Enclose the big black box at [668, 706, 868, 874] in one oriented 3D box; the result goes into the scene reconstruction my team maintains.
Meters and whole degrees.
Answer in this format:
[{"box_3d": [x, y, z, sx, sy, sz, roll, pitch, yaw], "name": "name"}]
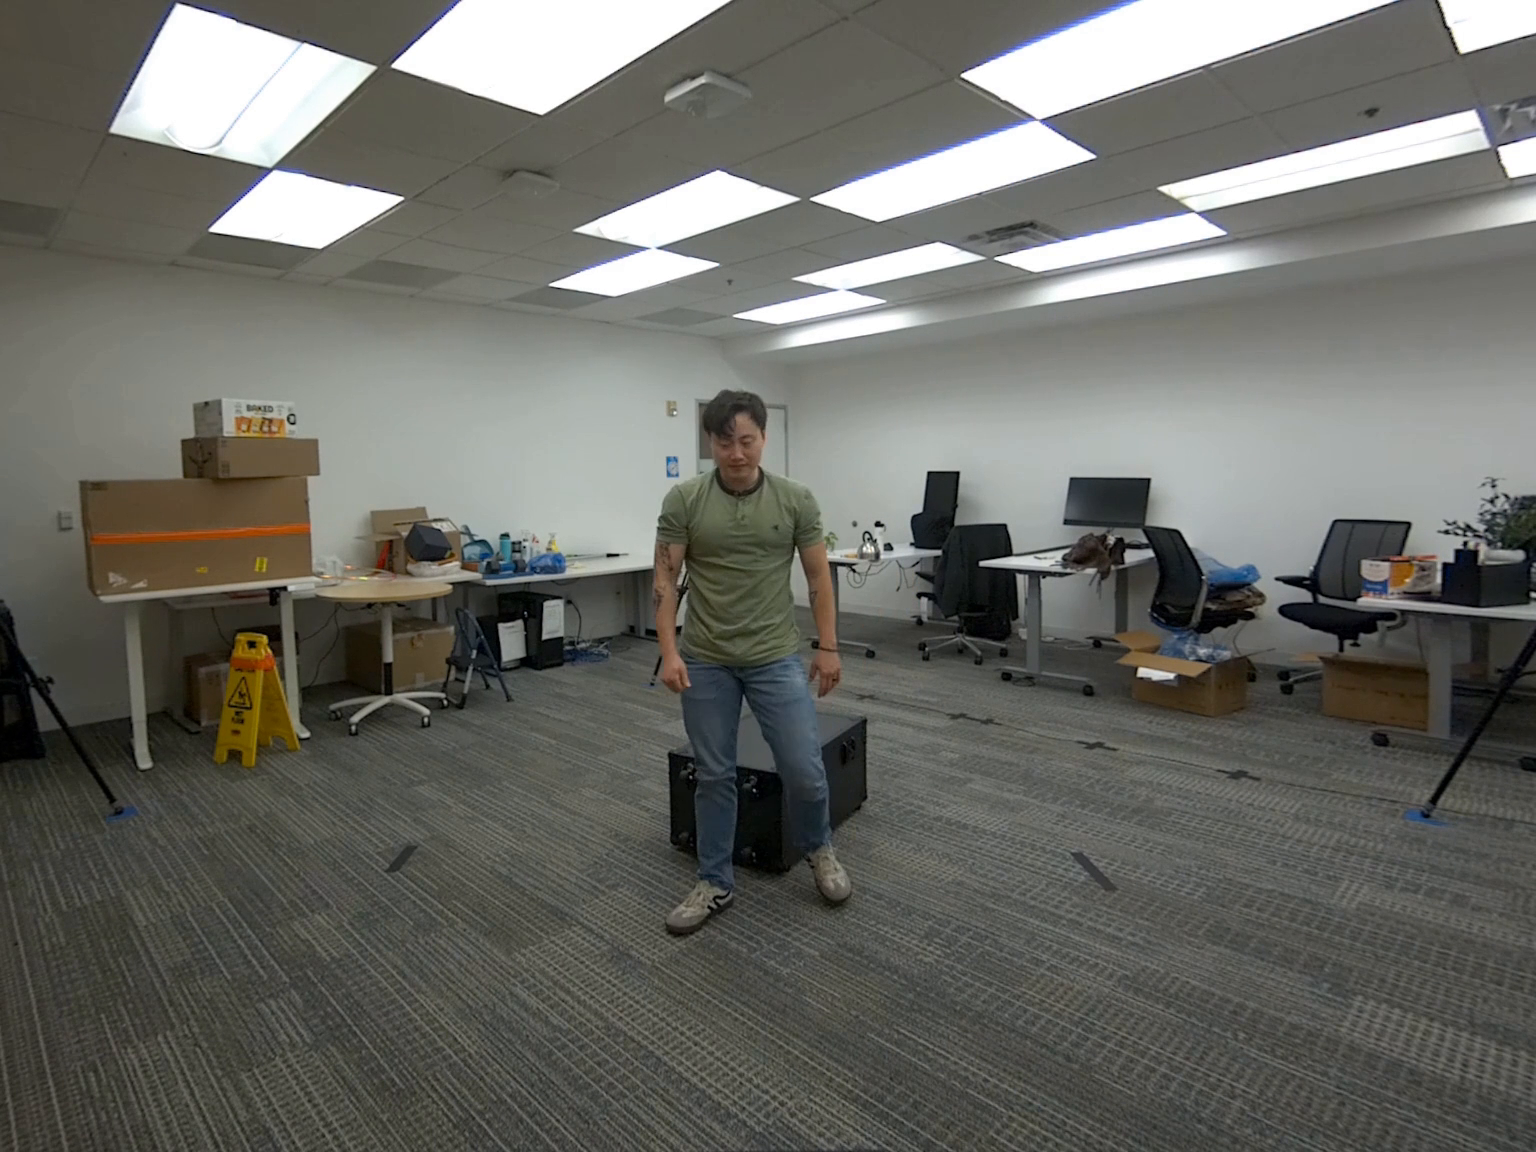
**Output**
[{"box_3d": [0.006, 0.816, 3.396, 0.535, 0.394, 0.843, 2, 7, 29], "name": "big black box"}]
